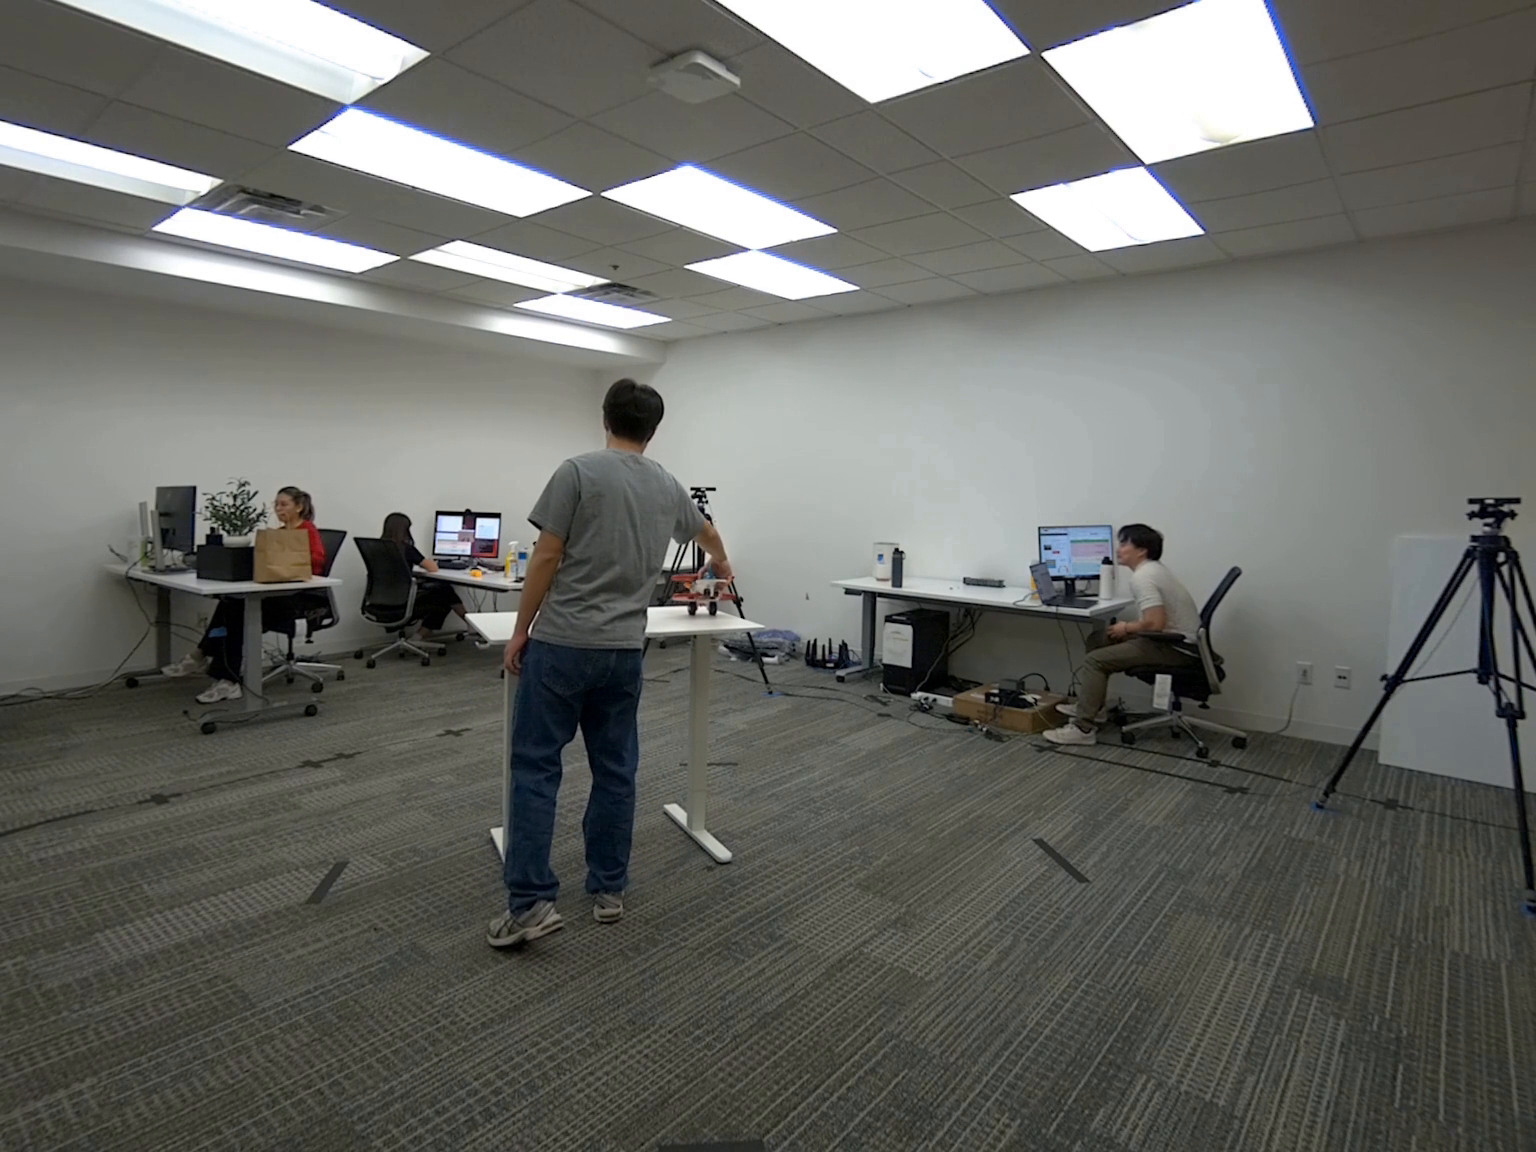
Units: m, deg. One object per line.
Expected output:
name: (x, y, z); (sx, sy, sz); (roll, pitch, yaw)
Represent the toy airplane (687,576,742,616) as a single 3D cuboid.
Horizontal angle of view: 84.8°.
toy airplane: (-0.247, 0.049, 3.380); (0.242, 0.160, 0.262); (16, -33, -39)
